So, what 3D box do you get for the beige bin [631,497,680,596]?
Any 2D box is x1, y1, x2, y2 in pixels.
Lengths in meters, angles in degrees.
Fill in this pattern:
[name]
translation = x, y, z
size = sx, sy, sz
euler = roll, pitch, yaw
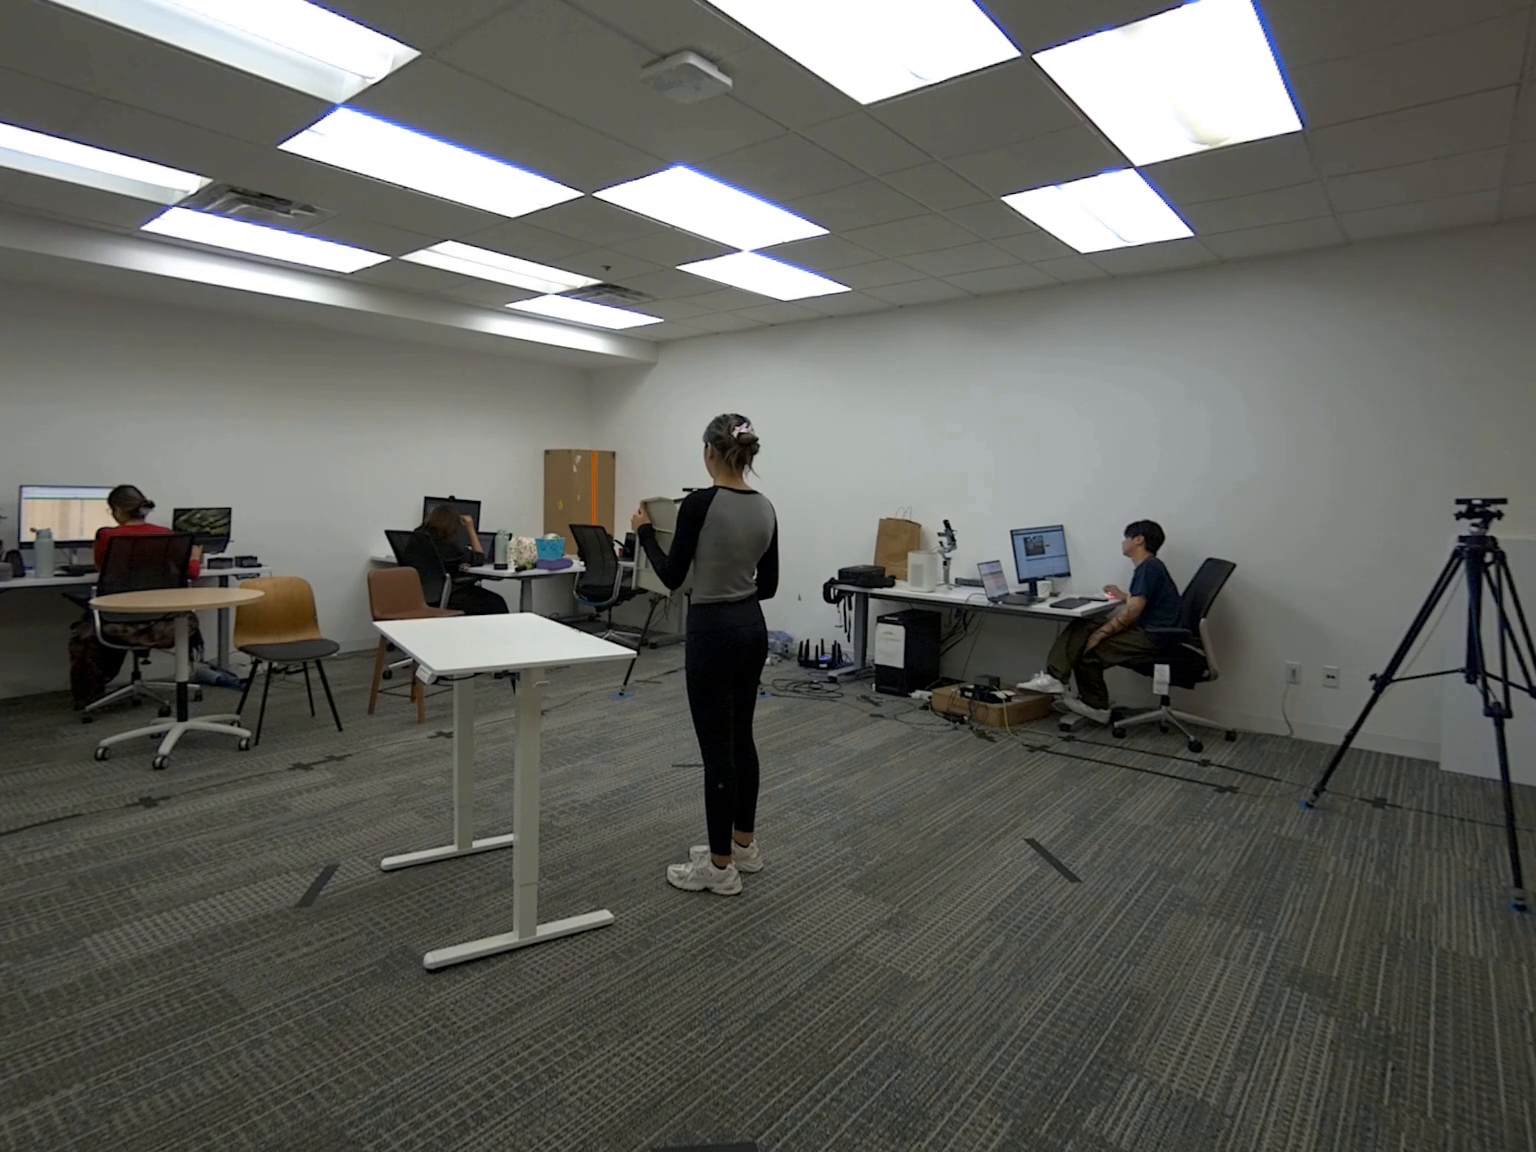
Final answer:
[beige bin]
translation = -0.308, -0.144, 3.266
size = 0.195, 0.373, 0.413
euler = 15, 17, 30
